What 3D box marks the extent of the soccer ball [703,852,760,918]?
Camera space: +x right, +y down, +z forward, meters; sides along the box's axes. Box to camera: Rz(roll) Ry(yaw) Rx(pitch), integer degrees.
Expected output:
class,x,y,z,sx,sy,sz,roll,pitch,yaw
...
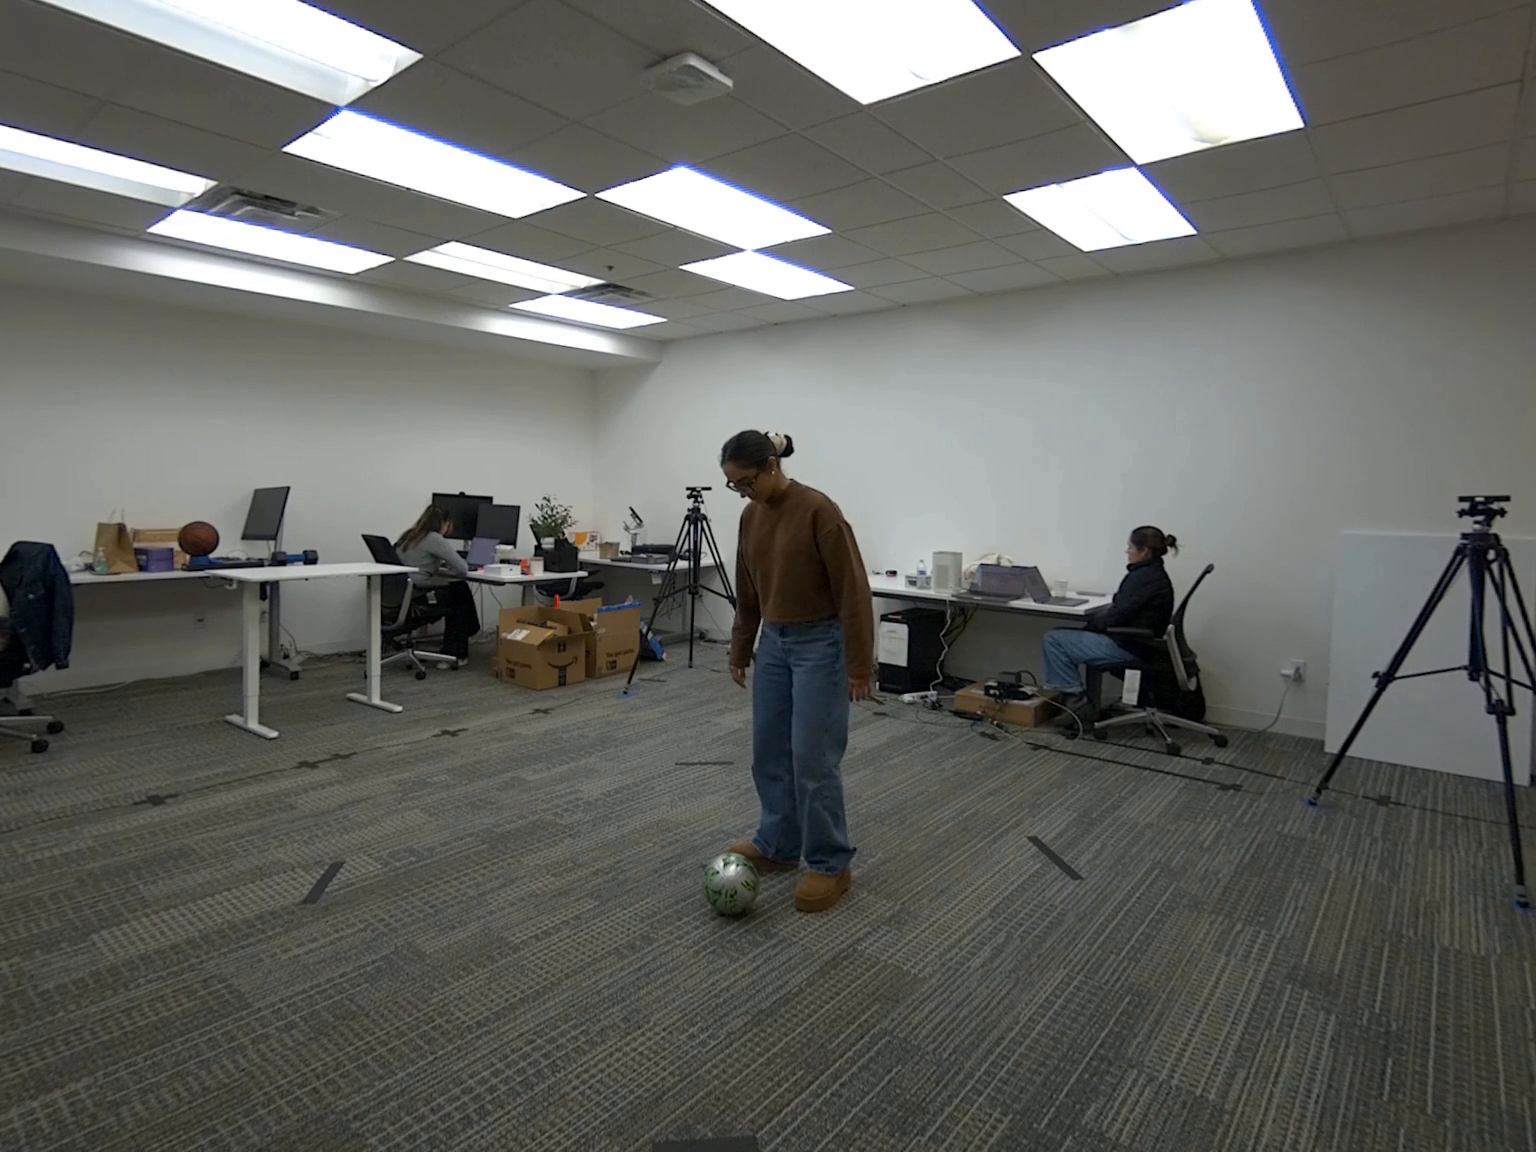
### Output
class,x,y,z,sx,sy,sz,roll,pitch,yaw
soccer ball,-0.131,1.003,2.788,0.187,0.187,0.188,1,4,-2
